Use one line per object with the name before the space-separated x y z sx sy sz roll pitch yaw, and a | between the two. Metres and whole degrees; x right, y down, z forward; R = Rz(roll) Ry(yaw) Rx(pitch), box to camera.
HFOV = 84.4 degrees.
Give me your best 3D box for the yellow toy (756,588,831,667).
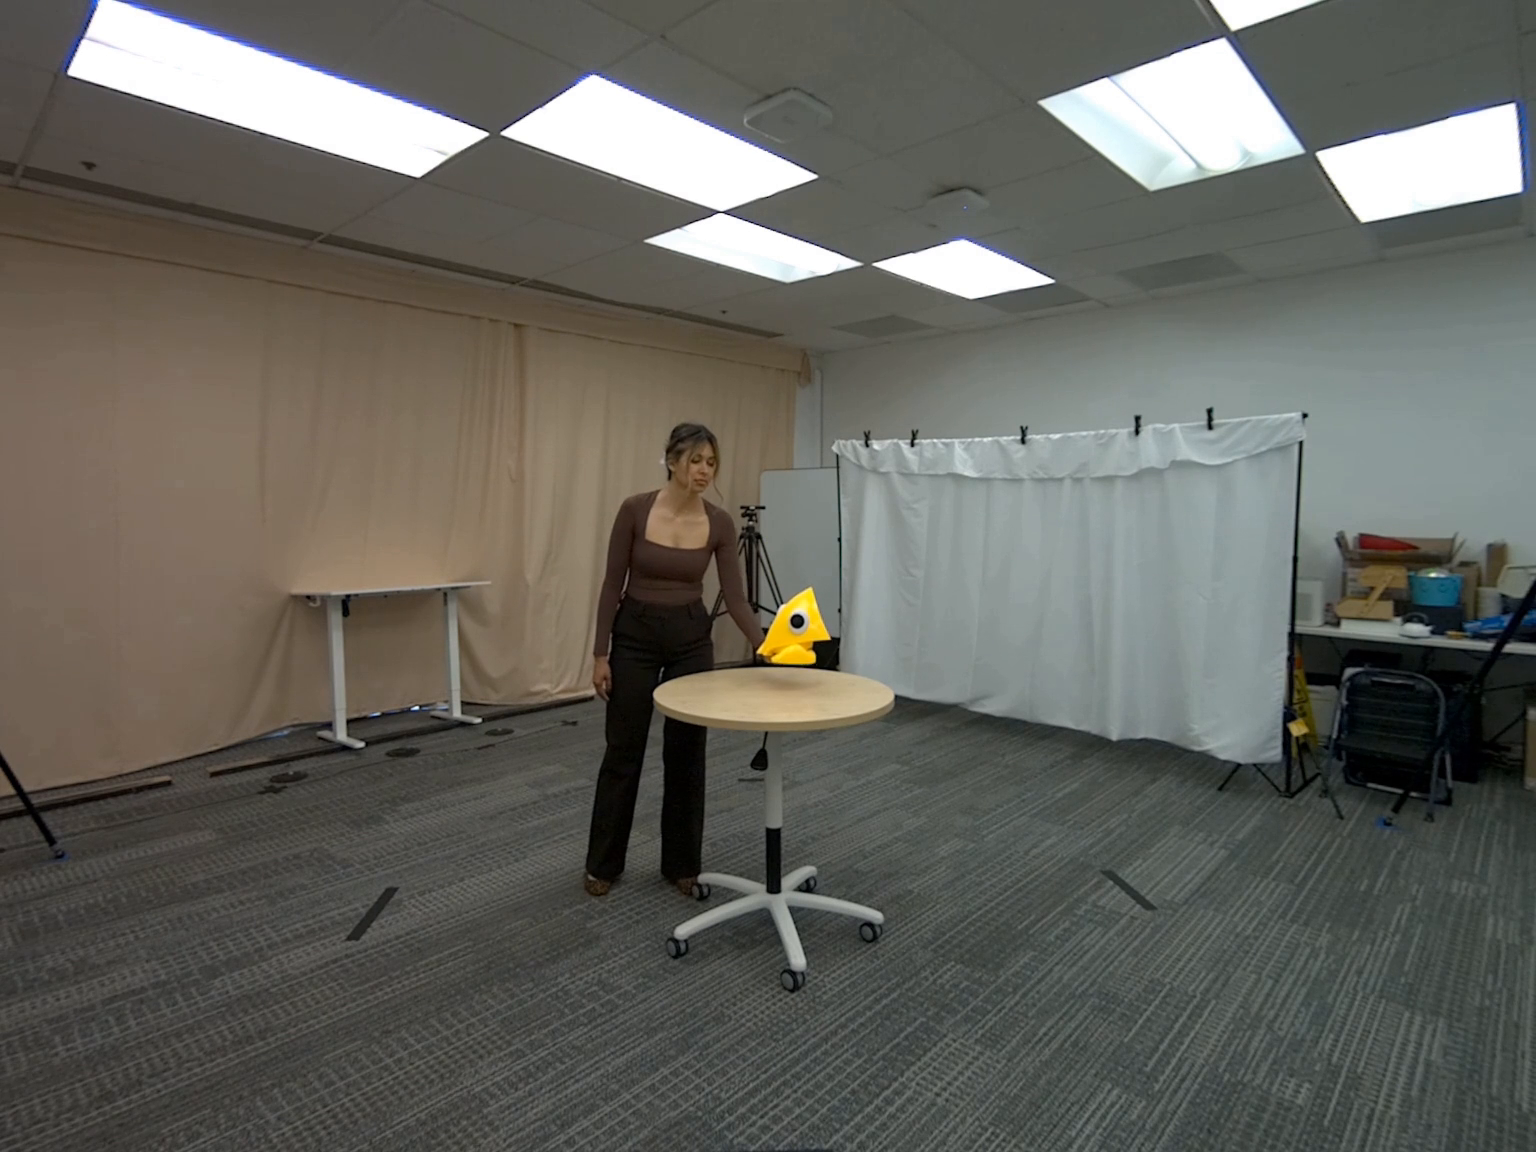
yellow toy | 0.083 0.151 2.741 0.189 0.230 0.210 2 7 -23
